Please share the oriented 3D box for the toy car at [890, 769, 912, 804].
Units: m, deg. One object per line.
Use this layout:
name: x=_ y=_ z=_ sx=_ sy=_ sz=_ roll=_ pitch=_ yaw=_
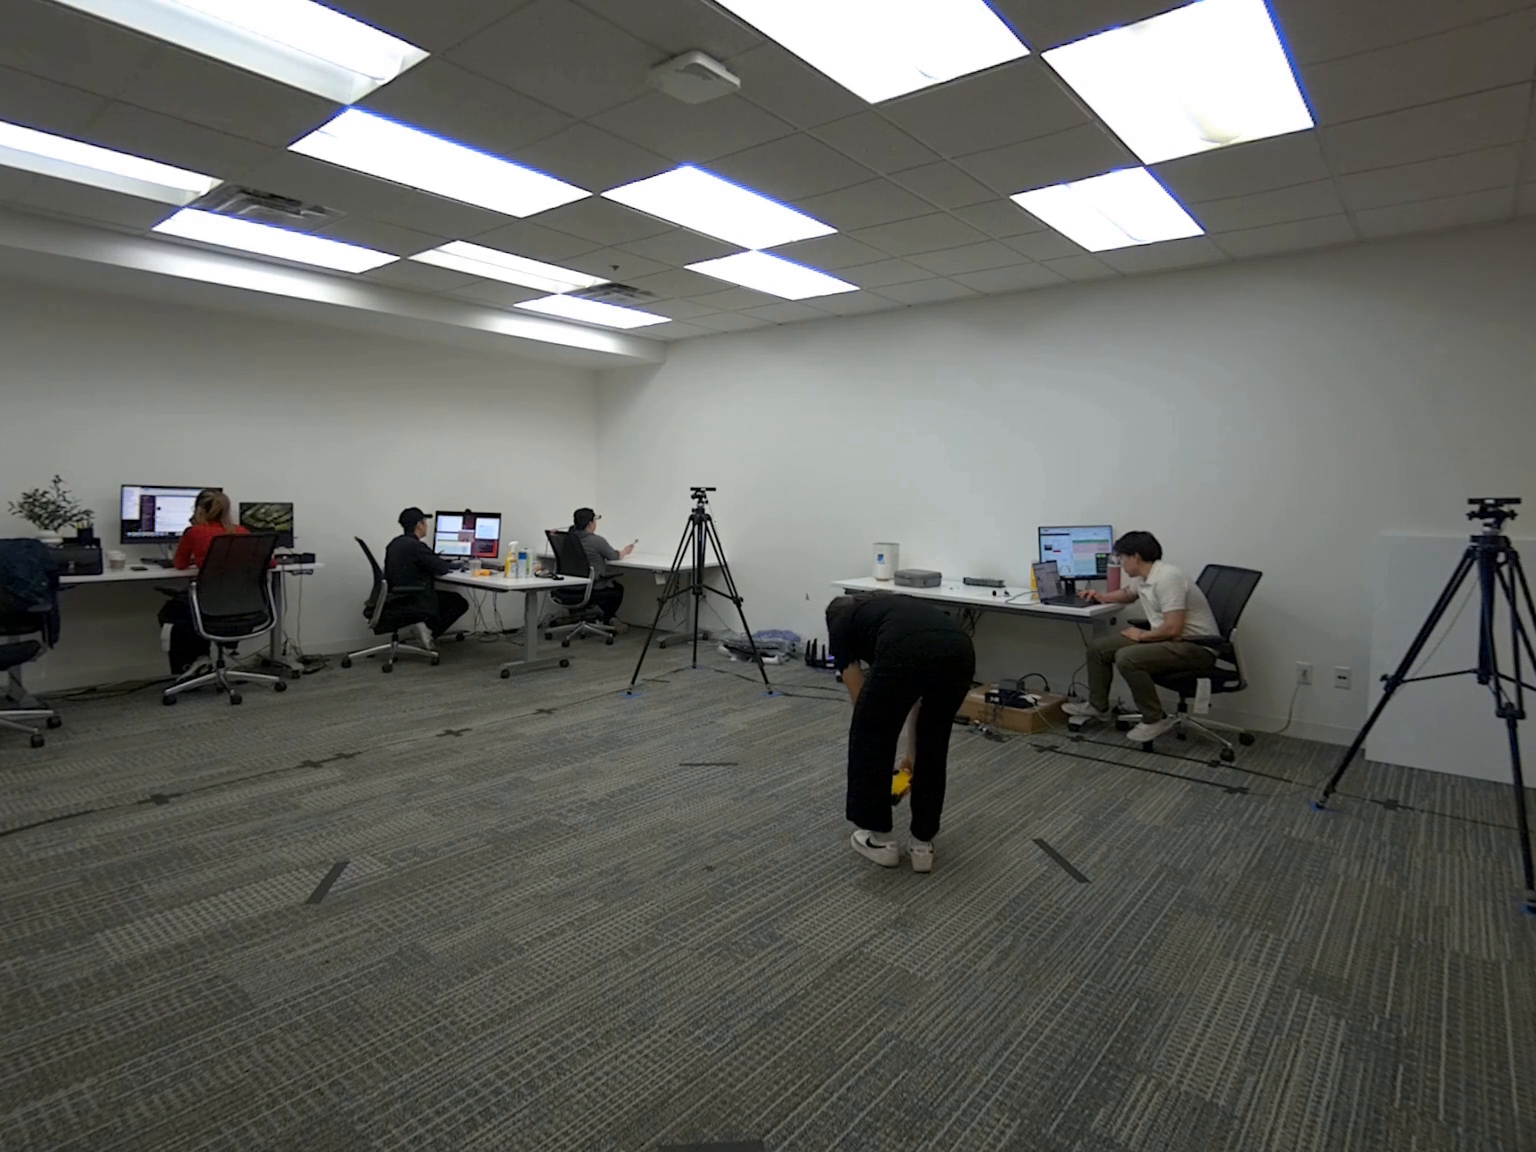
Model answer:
toy car: x=0.511 y=0.830 z=3.412 sx=0.135 sy=0.082 sz=0.248 roll=16 pitch=15 yaw=35
